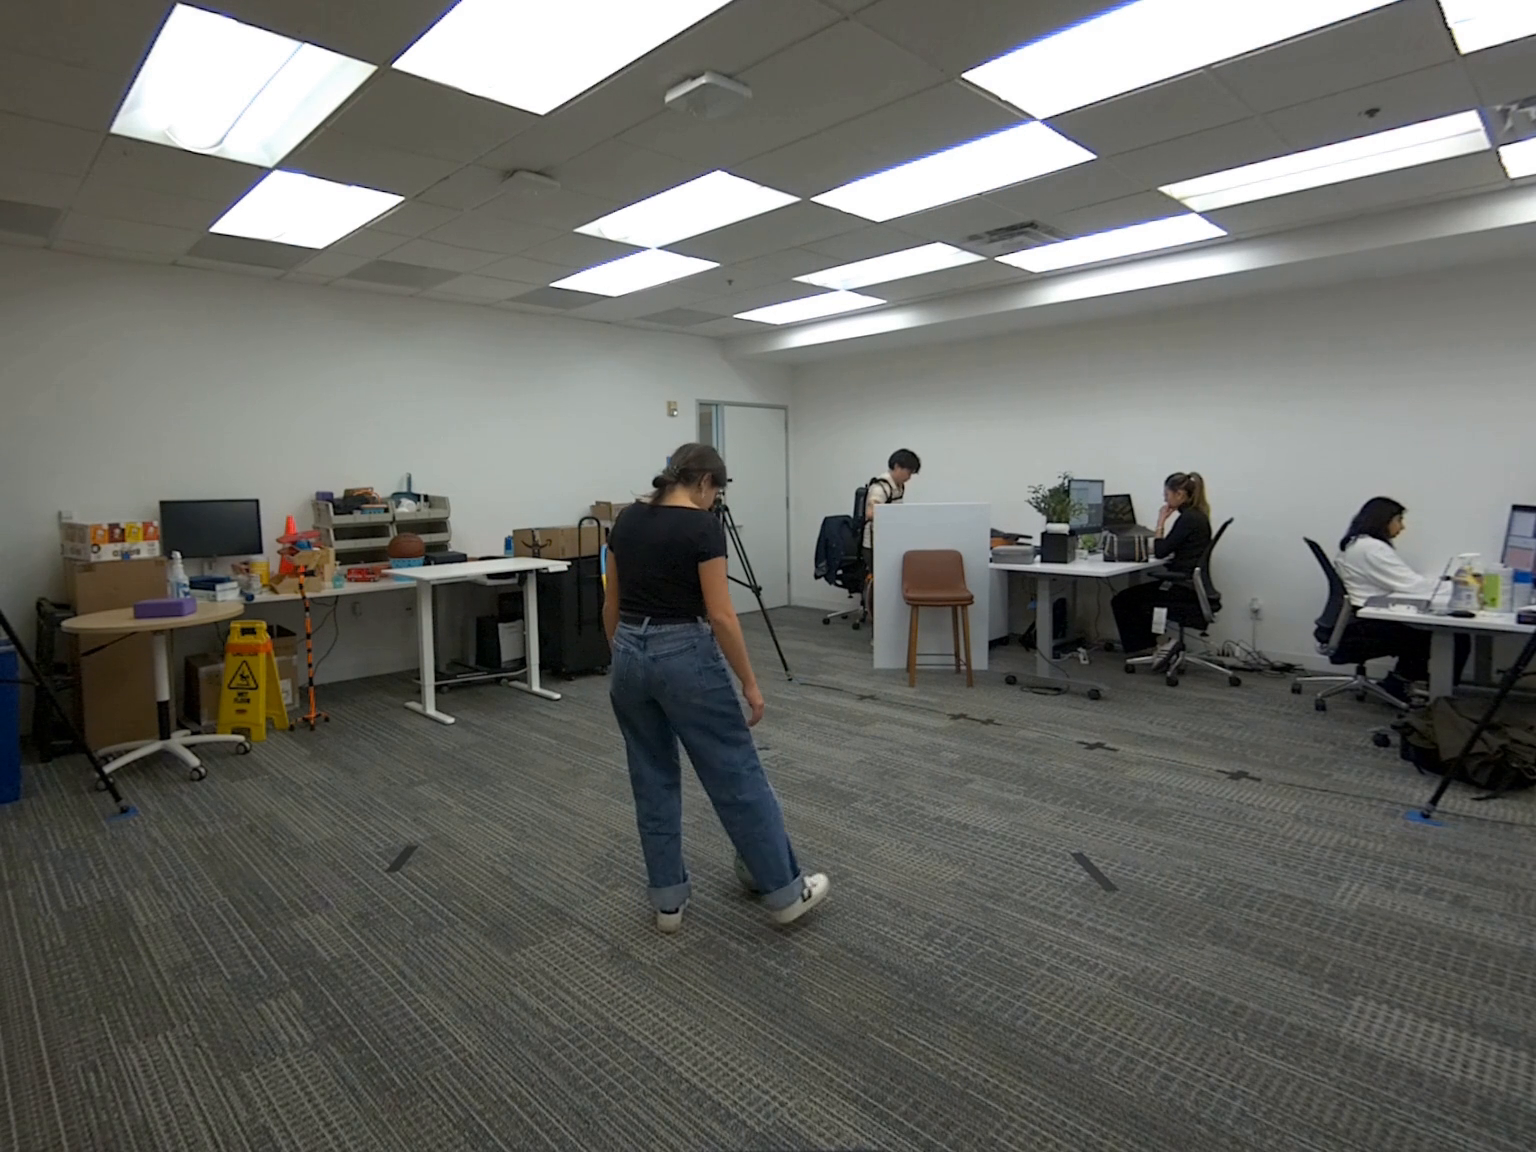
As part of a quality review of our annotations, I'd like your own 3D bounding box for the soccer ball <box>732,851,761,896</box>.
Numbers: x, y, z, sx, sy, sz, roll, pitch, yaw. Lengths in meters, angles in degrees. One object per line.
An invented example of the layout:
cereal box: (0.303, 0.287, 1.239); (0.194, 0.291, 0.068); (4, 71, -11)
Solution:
soccer ball: (-0.015, 0.976, 2.907); (0.187, 0.187, 0.188); (-1, 5, -2)
